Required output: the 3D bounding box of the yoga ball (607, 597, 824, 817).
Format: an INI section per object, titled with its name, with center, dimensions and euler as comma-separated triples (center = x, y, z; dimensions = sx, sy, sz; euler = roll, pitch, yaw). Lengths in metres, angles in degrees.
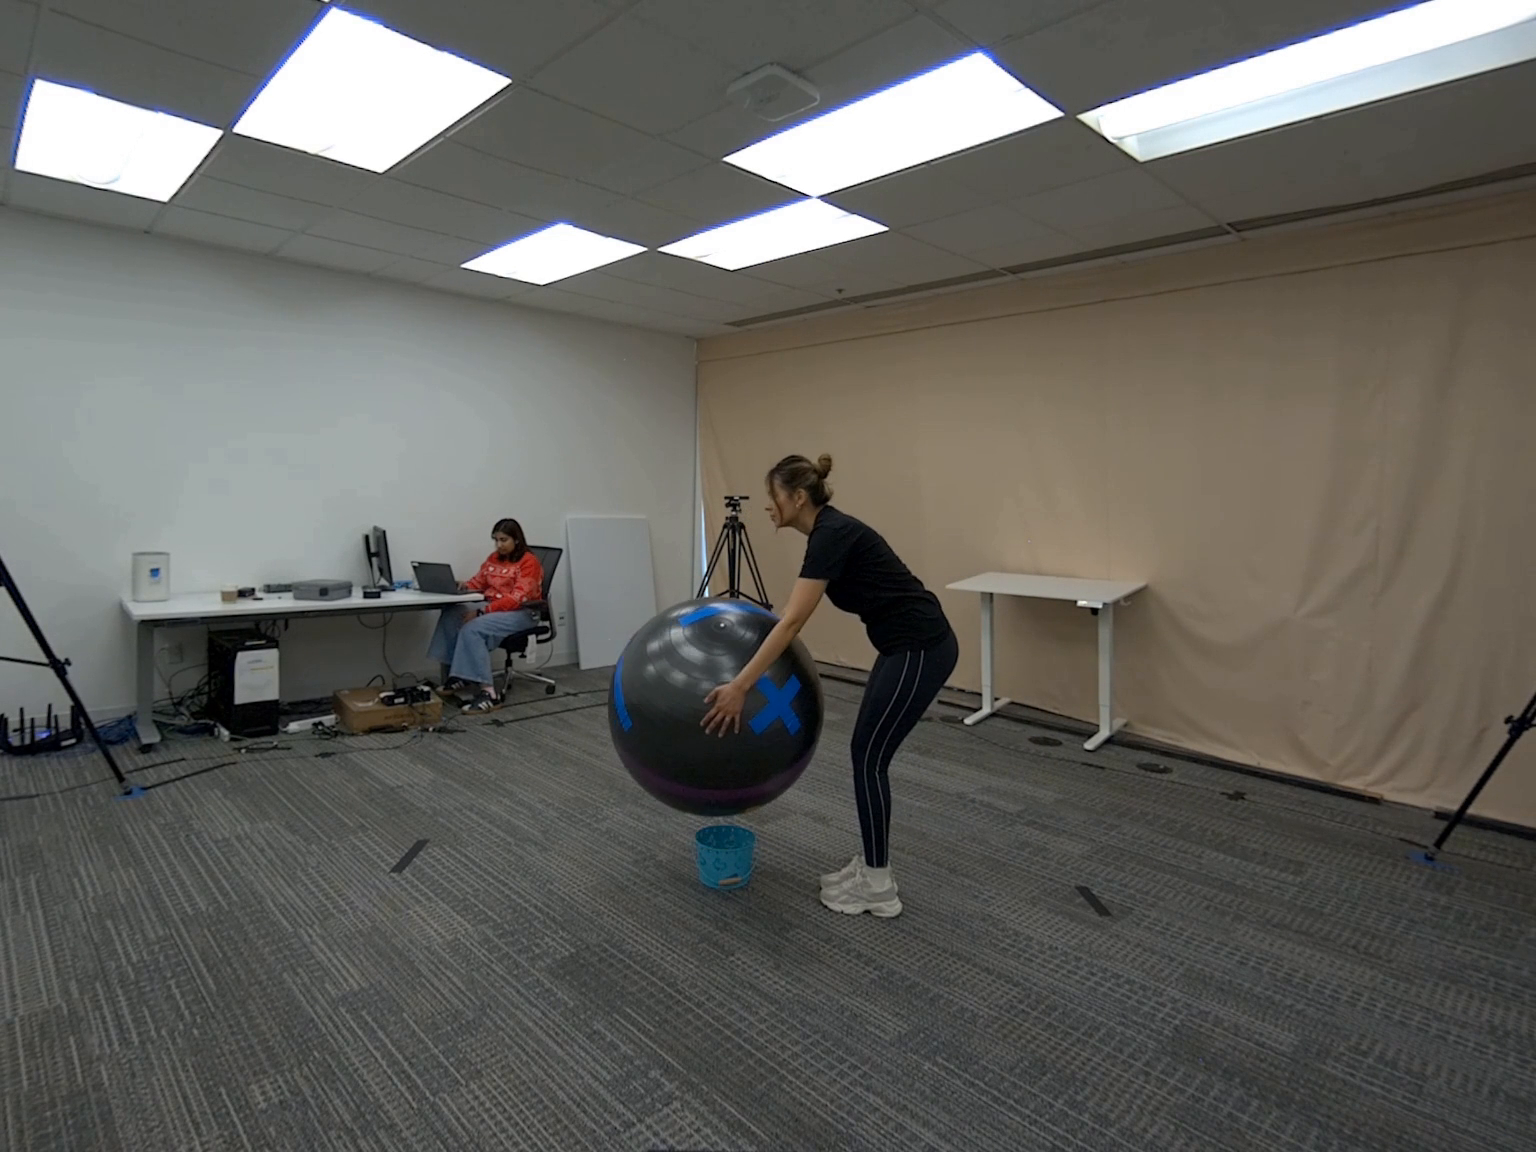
[yoga ball]
center = -0.192, 0.452, 2.962
dimensions = 0.757, 0.756, 0.761
euler = 1, 4, -1
